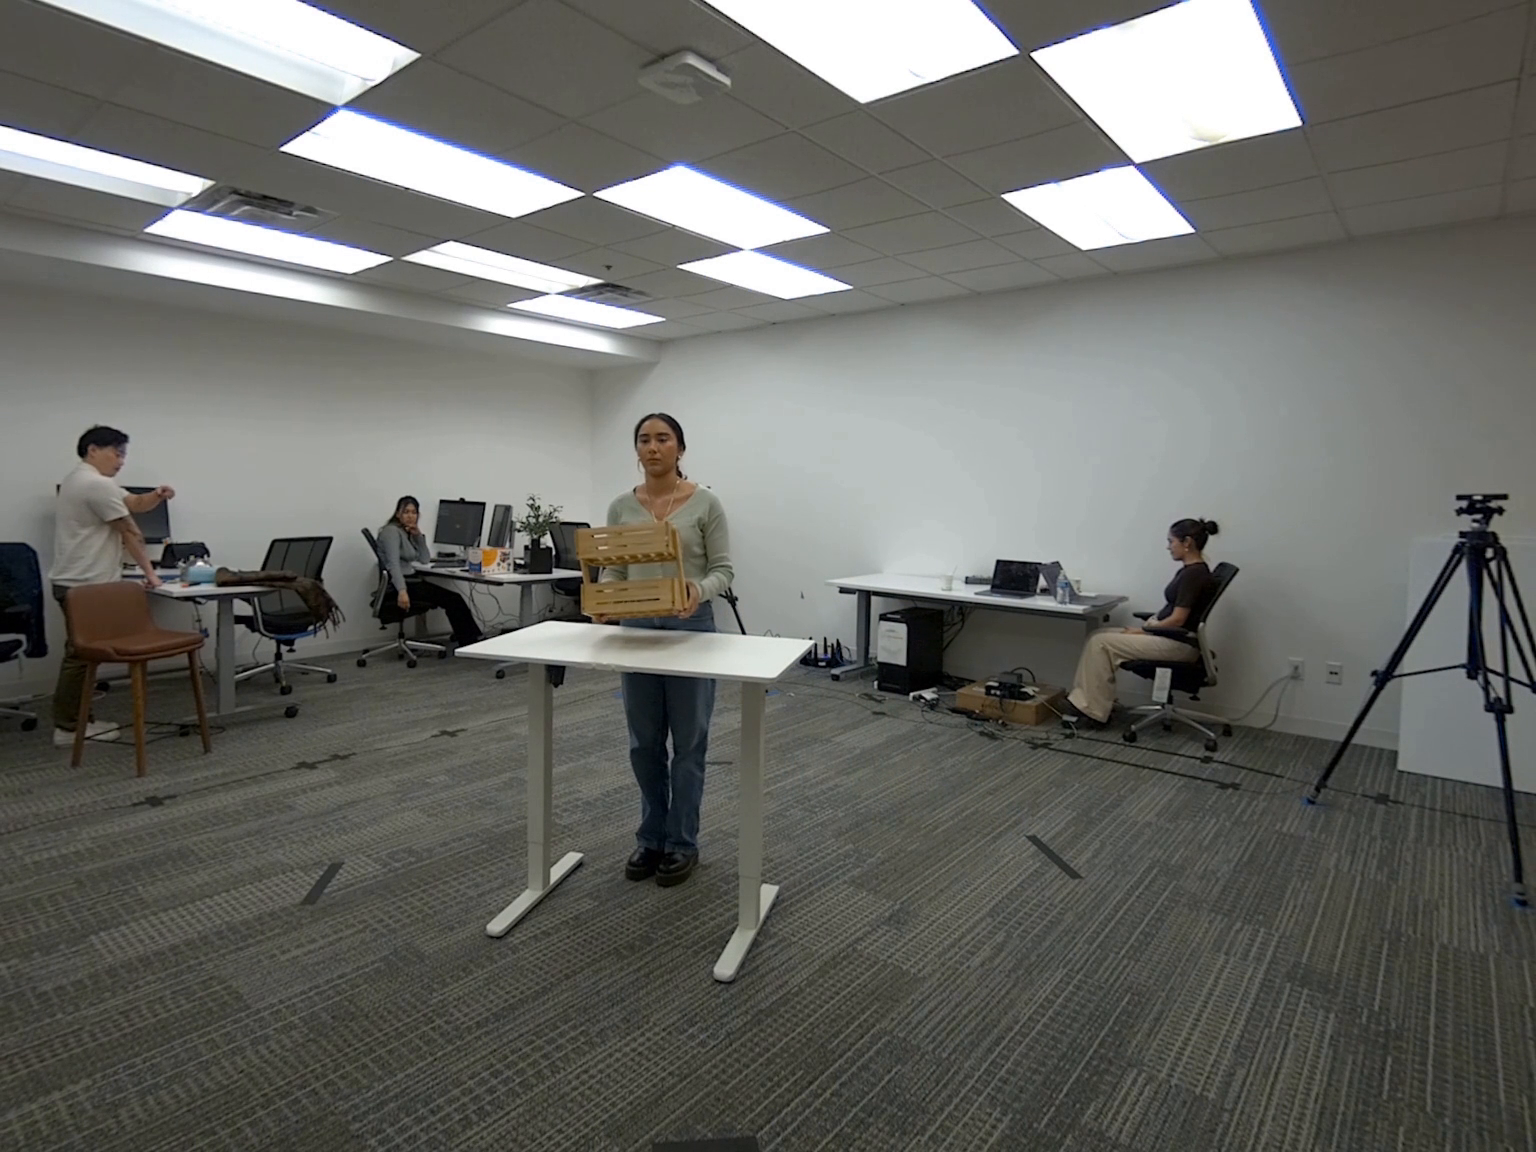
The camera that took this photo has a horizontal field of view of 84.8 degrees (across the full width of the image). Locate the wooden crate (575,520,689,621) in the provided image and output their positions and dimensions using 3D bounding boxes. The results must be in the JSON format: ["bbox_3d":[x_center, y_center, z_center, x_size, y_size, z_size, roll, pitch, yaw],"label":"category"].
[{"bbox_3d":[-0.446,-0.017,2.755,0.327,0.276,0.296,-5,-10,7],"label":"wooden crate"}]
